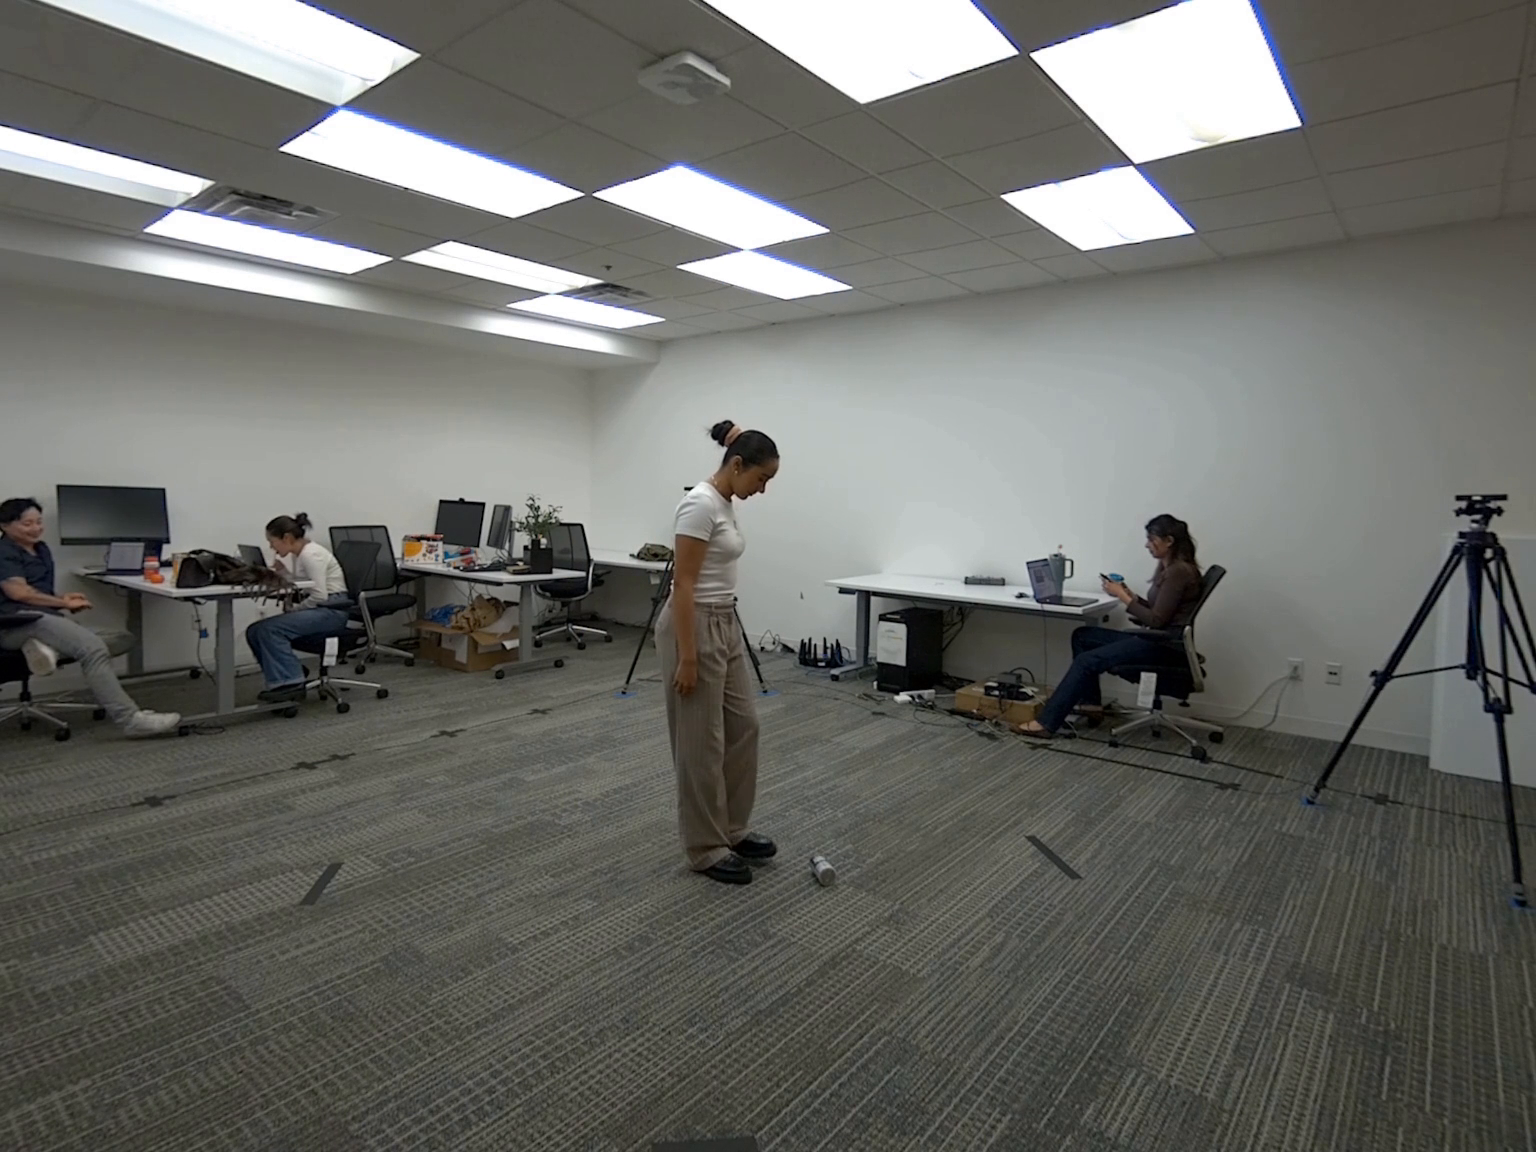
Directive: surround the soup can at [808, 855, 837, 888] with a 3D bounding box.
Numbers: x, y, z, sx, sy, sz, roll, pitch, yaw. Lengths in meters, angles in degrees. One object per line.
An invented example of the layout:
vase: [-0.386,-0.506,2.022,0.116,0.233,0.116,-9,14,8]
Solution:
soup can: [0.194,1.042,3.035,0.066,0.067,0.123,0,2,-15]
